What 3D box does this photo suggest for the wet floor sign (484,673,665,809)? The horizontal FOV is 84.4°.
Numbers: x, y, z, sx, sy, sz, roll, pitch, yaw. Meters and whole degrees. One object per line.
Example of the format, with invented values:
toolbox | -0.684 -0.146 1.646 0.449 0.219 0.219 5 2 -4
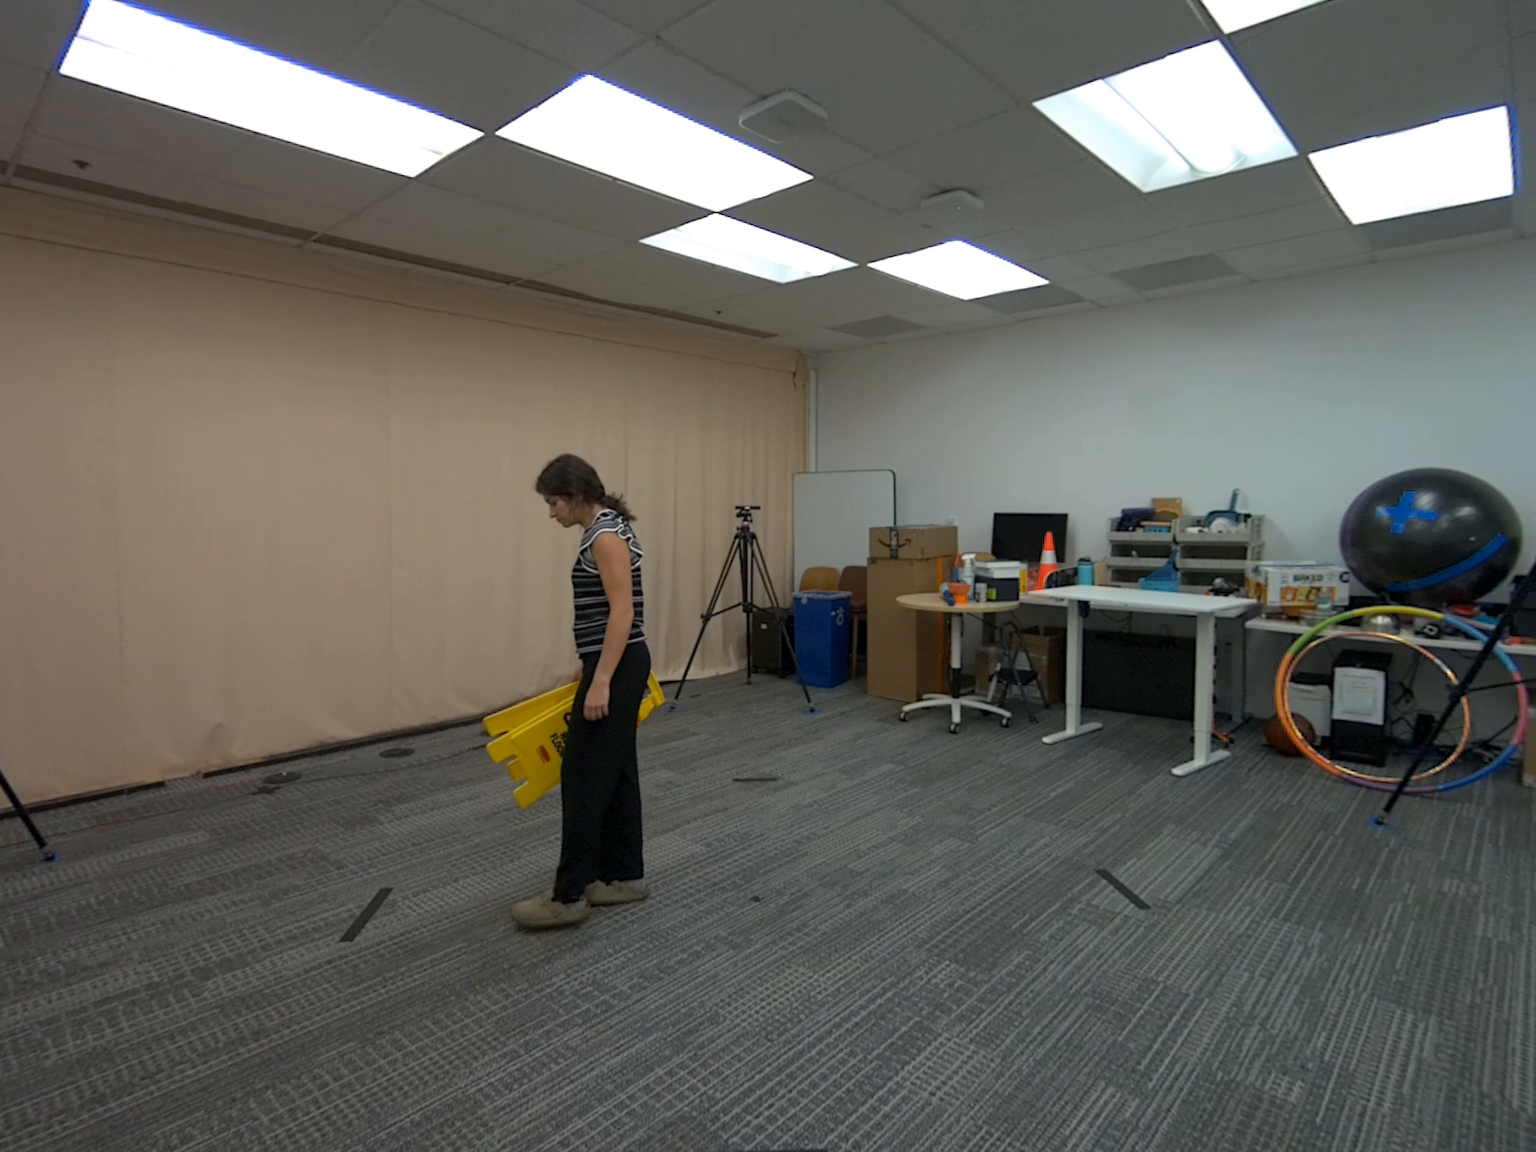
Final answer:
wet floor sign | -0.709 0.548 3.183 0.640 0.278 0.297 -29 16 -13
